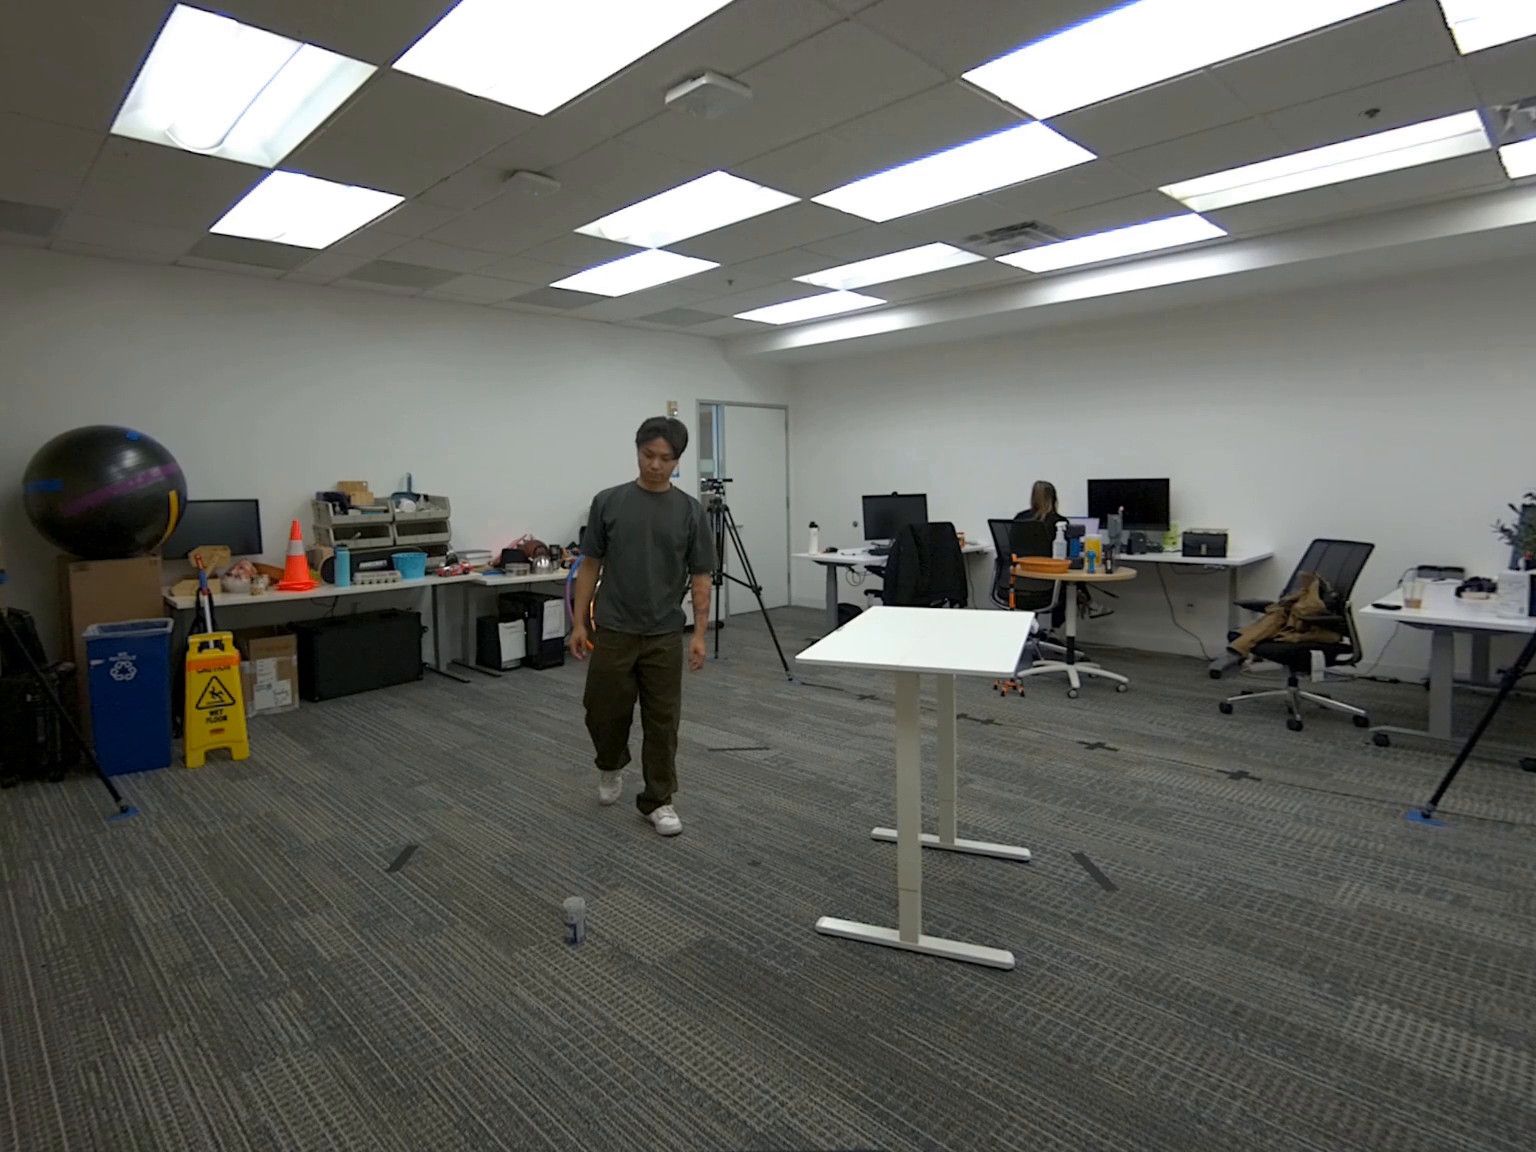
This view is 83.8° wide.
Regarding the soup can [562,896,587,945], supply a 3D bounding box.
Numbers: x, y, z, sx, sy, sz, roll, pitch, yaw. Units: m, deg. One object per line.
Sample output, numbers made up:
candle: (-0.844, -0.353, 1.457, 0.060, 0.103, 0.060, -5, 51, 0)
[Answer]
soup can: (-0.587, 1.059, 2.615, 0.067, 0.121, 0.067, -2, 5, -2)
